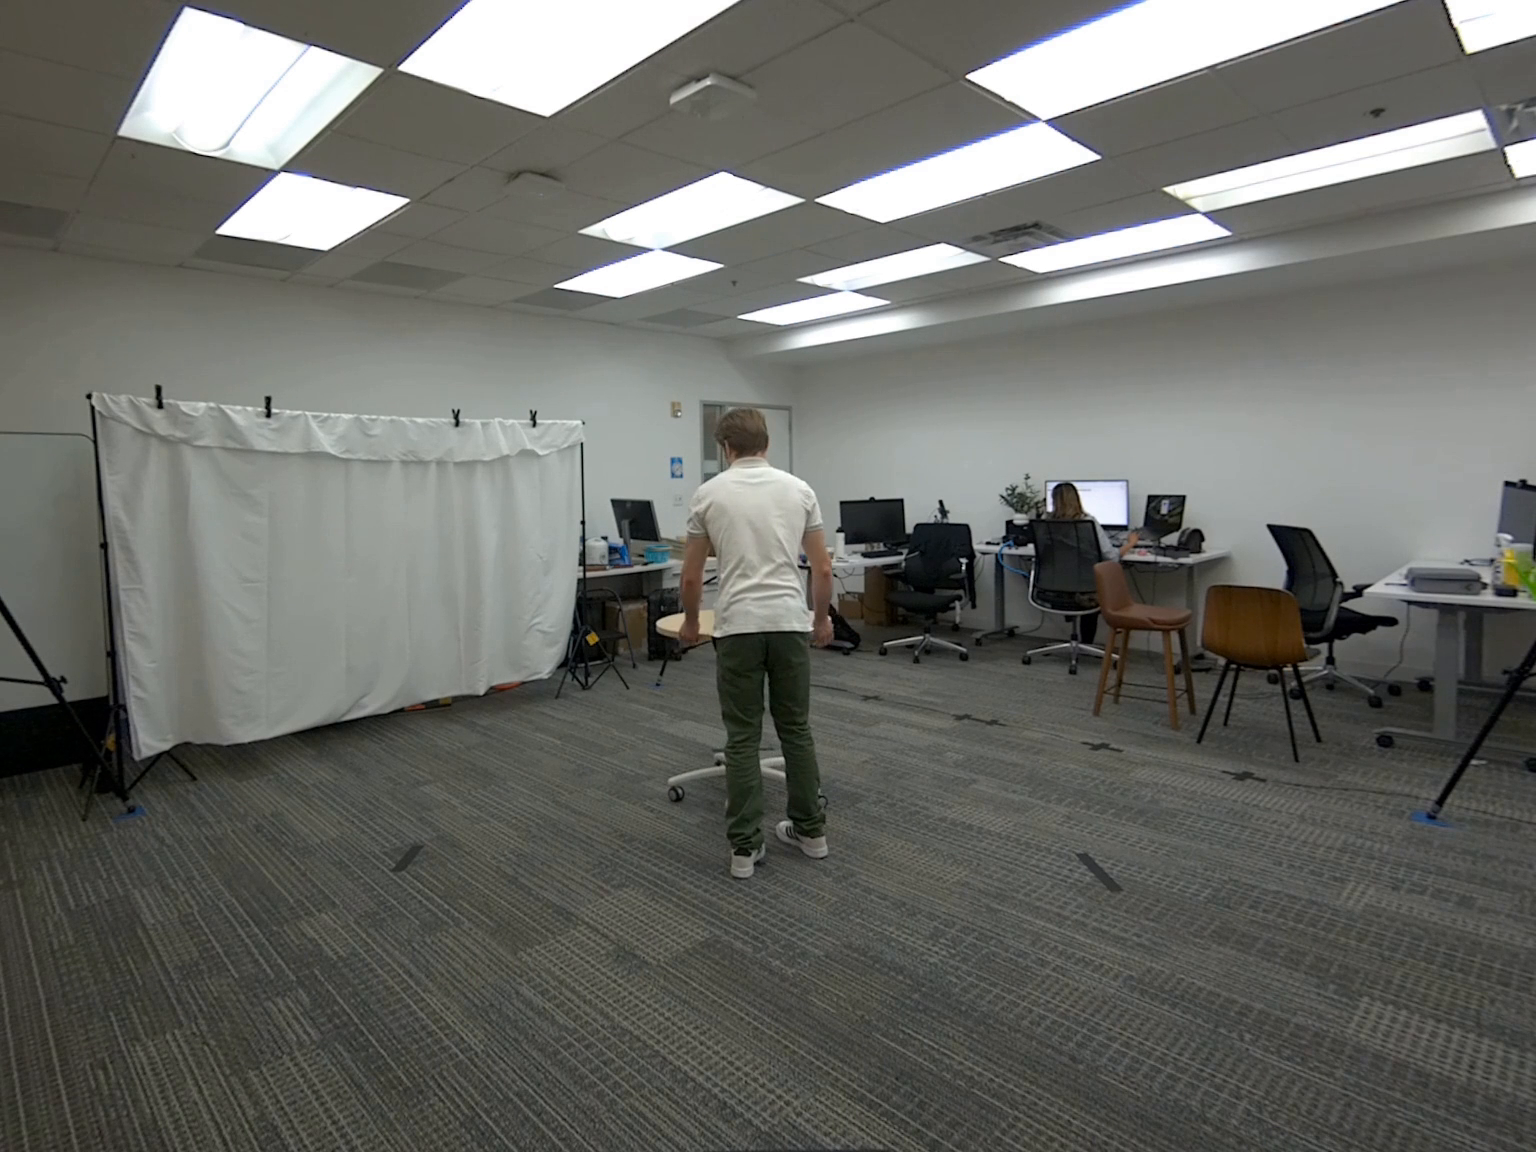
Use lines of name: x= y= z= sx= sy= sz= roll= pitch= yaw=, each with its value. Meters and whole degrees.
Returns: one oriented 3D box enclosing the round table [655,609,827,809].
round table: x=-0.094 y=0.586 z=3.770 sx=0.763 sy=0.792 sz=0.767 roll=-1 pitch=4 yaw=-2
